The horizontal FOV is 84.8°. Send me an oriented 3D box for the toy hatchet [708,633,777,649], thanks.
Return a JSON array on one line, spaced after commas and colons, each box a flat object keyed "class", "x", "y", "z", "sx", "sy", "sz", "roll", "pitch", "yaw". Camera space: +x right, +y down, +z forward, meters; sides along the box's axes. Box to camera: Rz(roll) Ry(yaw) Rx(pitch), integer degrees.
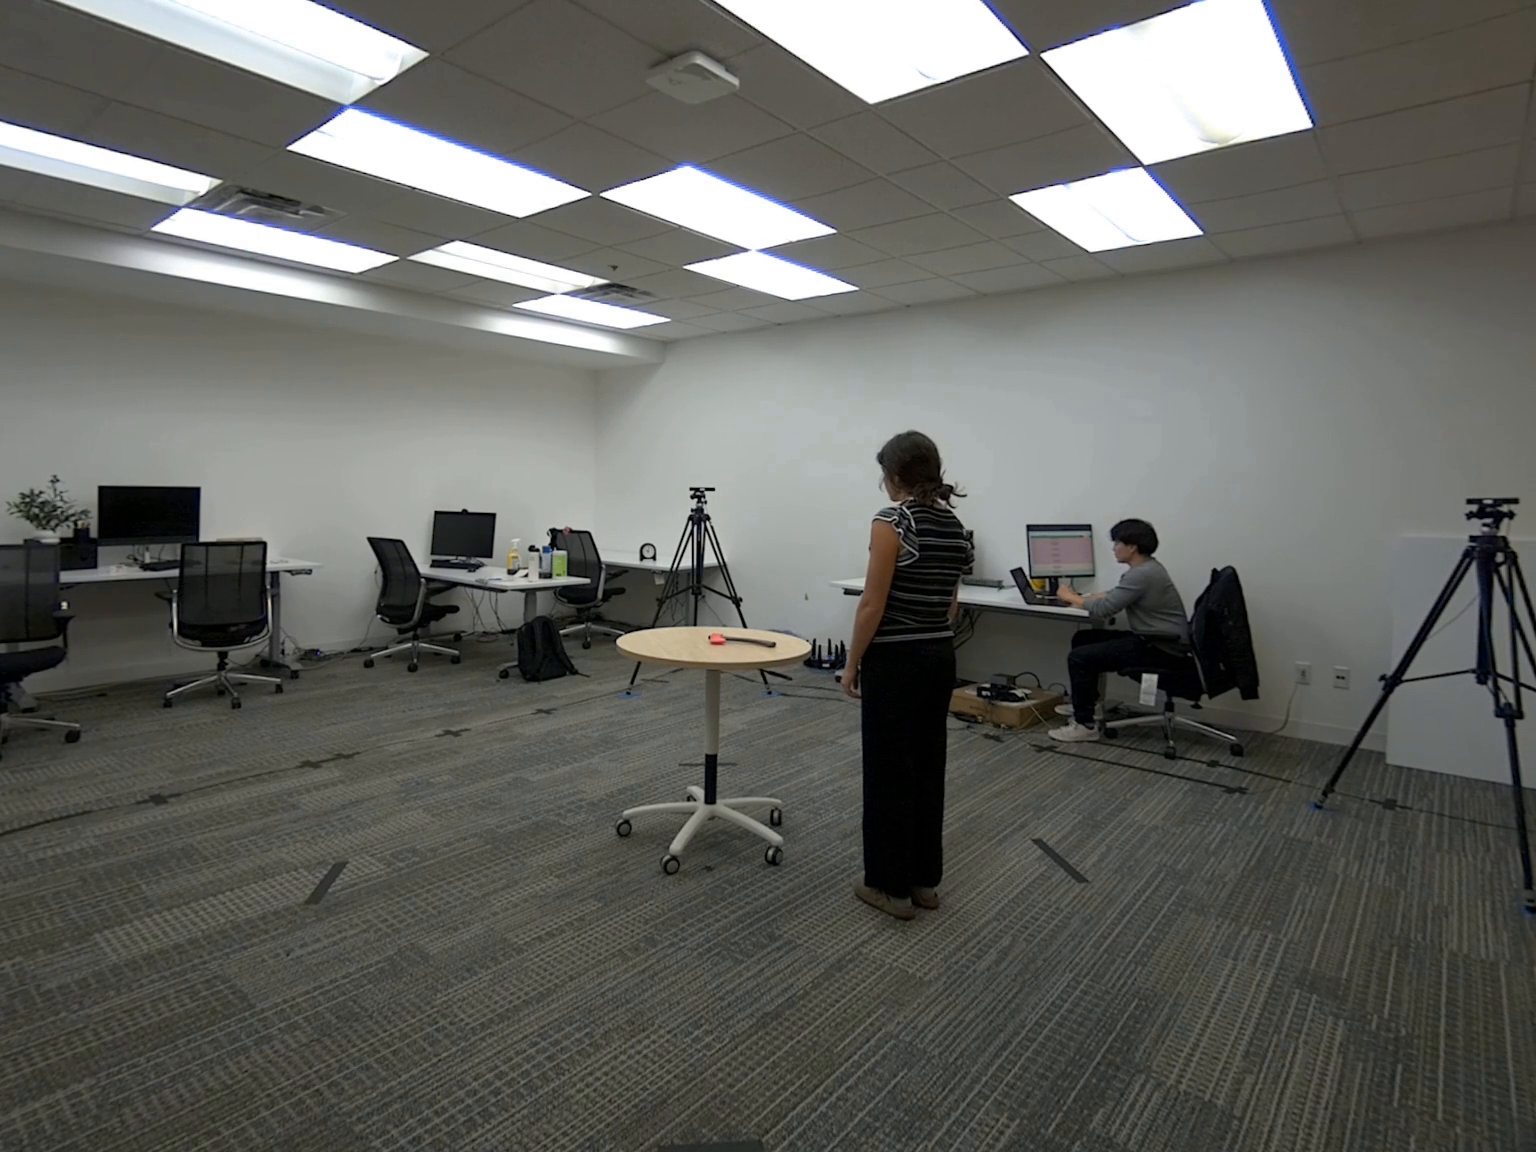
[{"class": "toy hatchet", "x": -0.120, "y": 0.252, "z": 3.324, "sx": 0.278, "sy": 0.029, "sz": 0.128, "roll": 6, "pitch": 8, "yaw": 29}]
